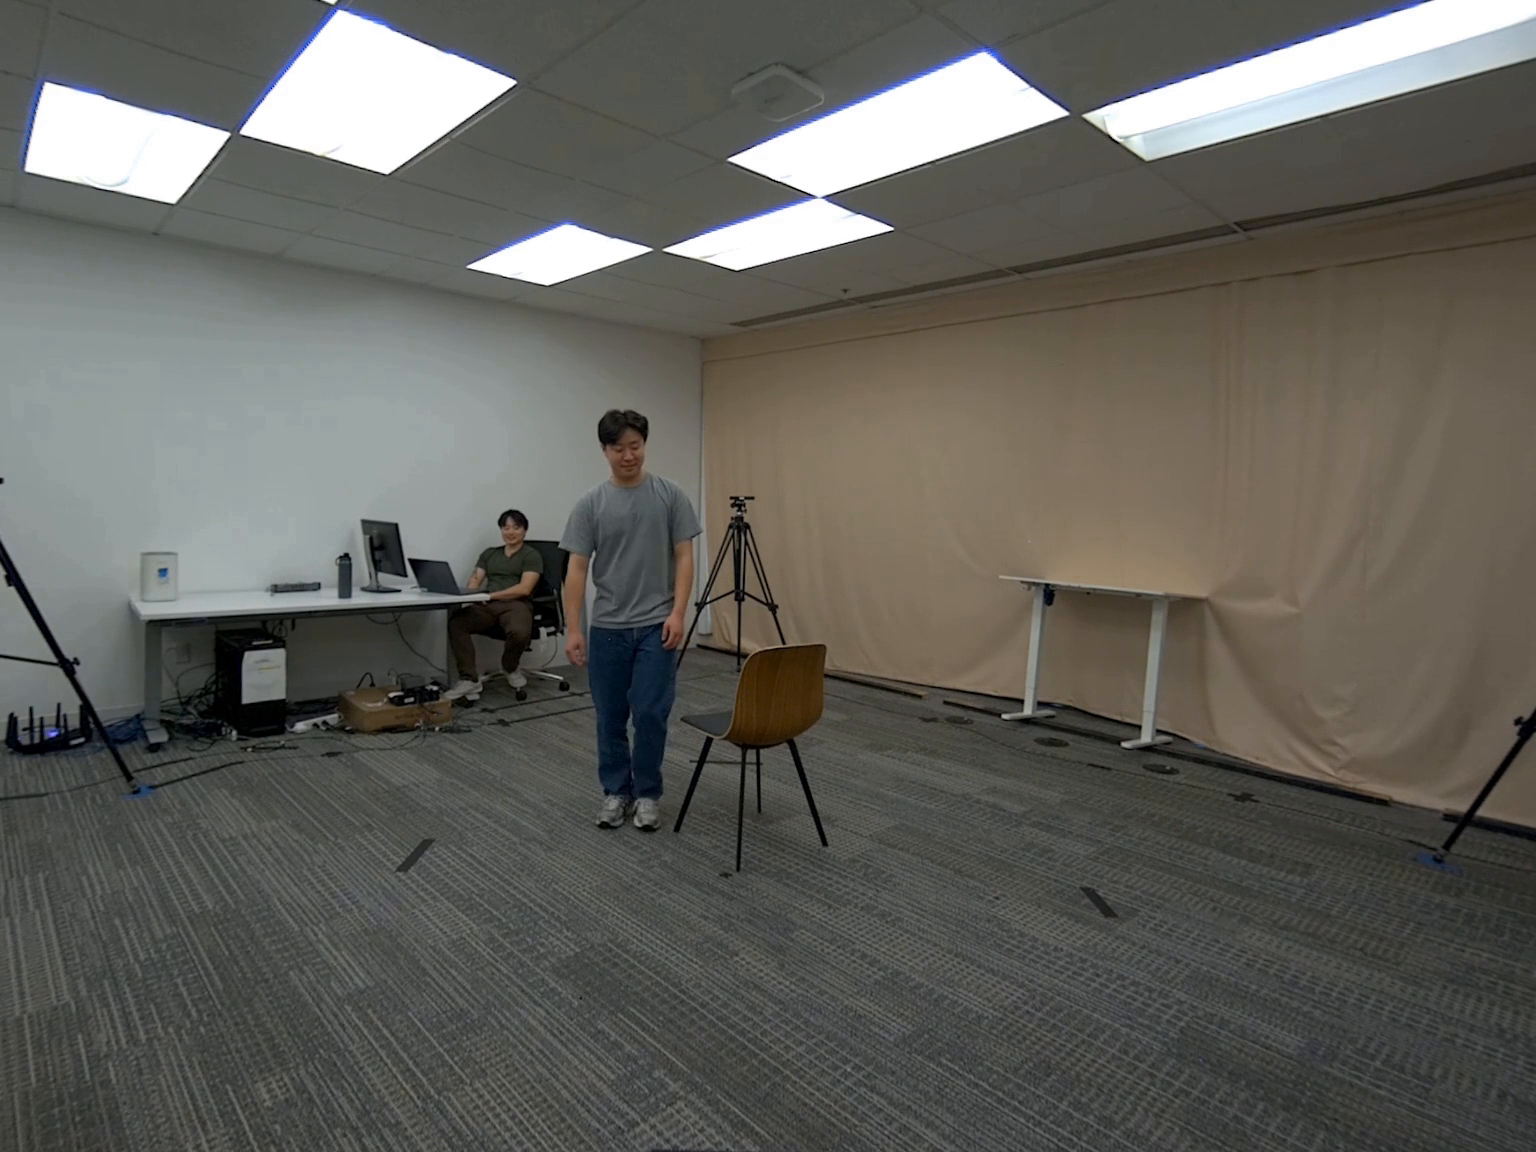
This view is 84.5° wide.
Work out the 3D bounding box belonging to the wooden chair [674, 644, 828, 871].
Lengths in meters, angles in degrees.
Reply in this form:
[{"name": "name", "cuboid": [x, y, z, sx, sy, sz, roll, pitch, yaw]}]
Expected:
[{"name": "wooden chair", "cuboid": [-0.073, 0.652, 3.417, 0.467, 0.873, 0.537, -1, 8, -37]}]
